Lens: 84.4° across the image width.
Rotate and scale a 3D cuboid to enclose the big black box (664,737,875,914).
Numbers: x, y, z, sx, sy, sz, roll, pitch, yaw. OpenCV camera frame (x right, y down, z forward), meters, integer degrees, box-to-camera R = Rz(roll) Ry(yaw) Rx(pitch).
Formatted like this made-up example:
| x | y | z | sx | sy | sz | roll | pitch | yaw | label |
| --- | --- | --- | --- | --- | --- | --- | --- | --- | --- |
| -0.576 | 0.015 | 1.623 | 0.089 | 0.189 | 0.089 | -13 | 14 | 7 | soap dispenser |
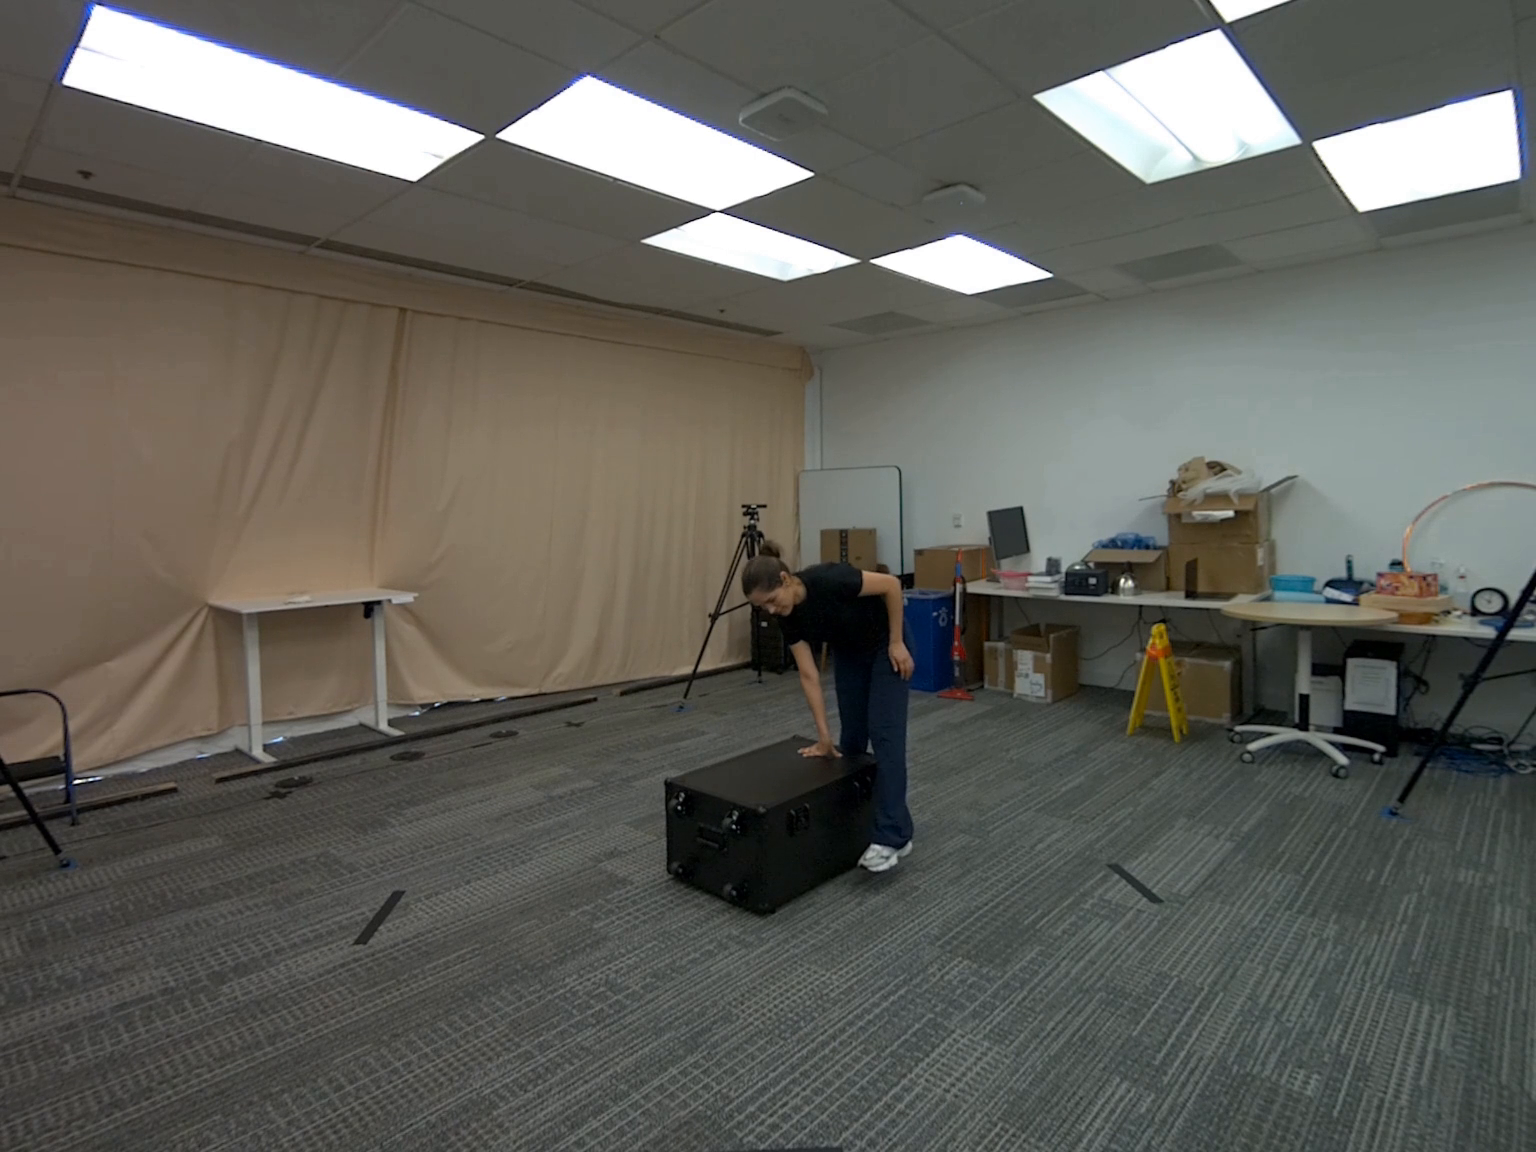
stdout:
| x | y | z | sx | sy | sz | roll | pitch | yaw | label |
| --- | --- | --- | --- | --- | --- | --- | --- | --- | --- |
| 0.041 | 0.916 | 3.220 | 0.538 | 0.395 | 0.836 | 3 | 6 | 41 | big black box |
